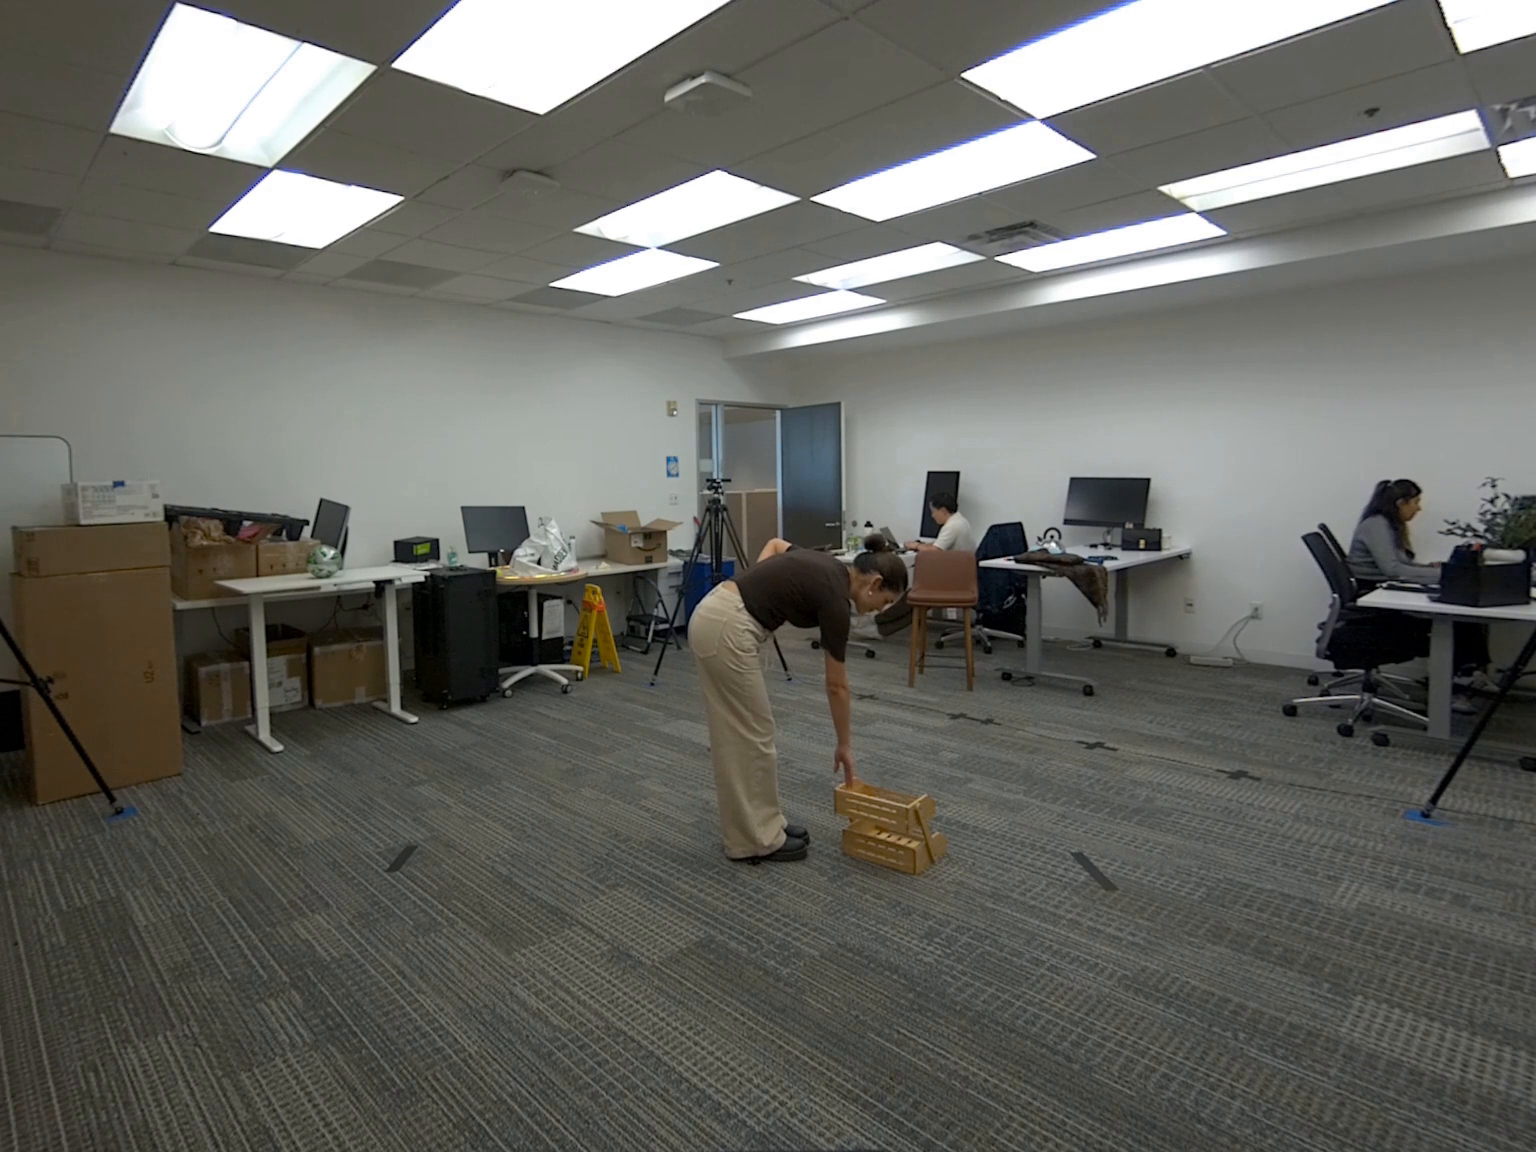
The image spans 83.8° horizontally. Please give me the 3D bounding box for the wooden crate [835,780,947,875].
[{"bbox_3d":[0.452,0.890,3.148,0.334,0.272,0.294,3,7,38],"label":"wooden crate"}]
